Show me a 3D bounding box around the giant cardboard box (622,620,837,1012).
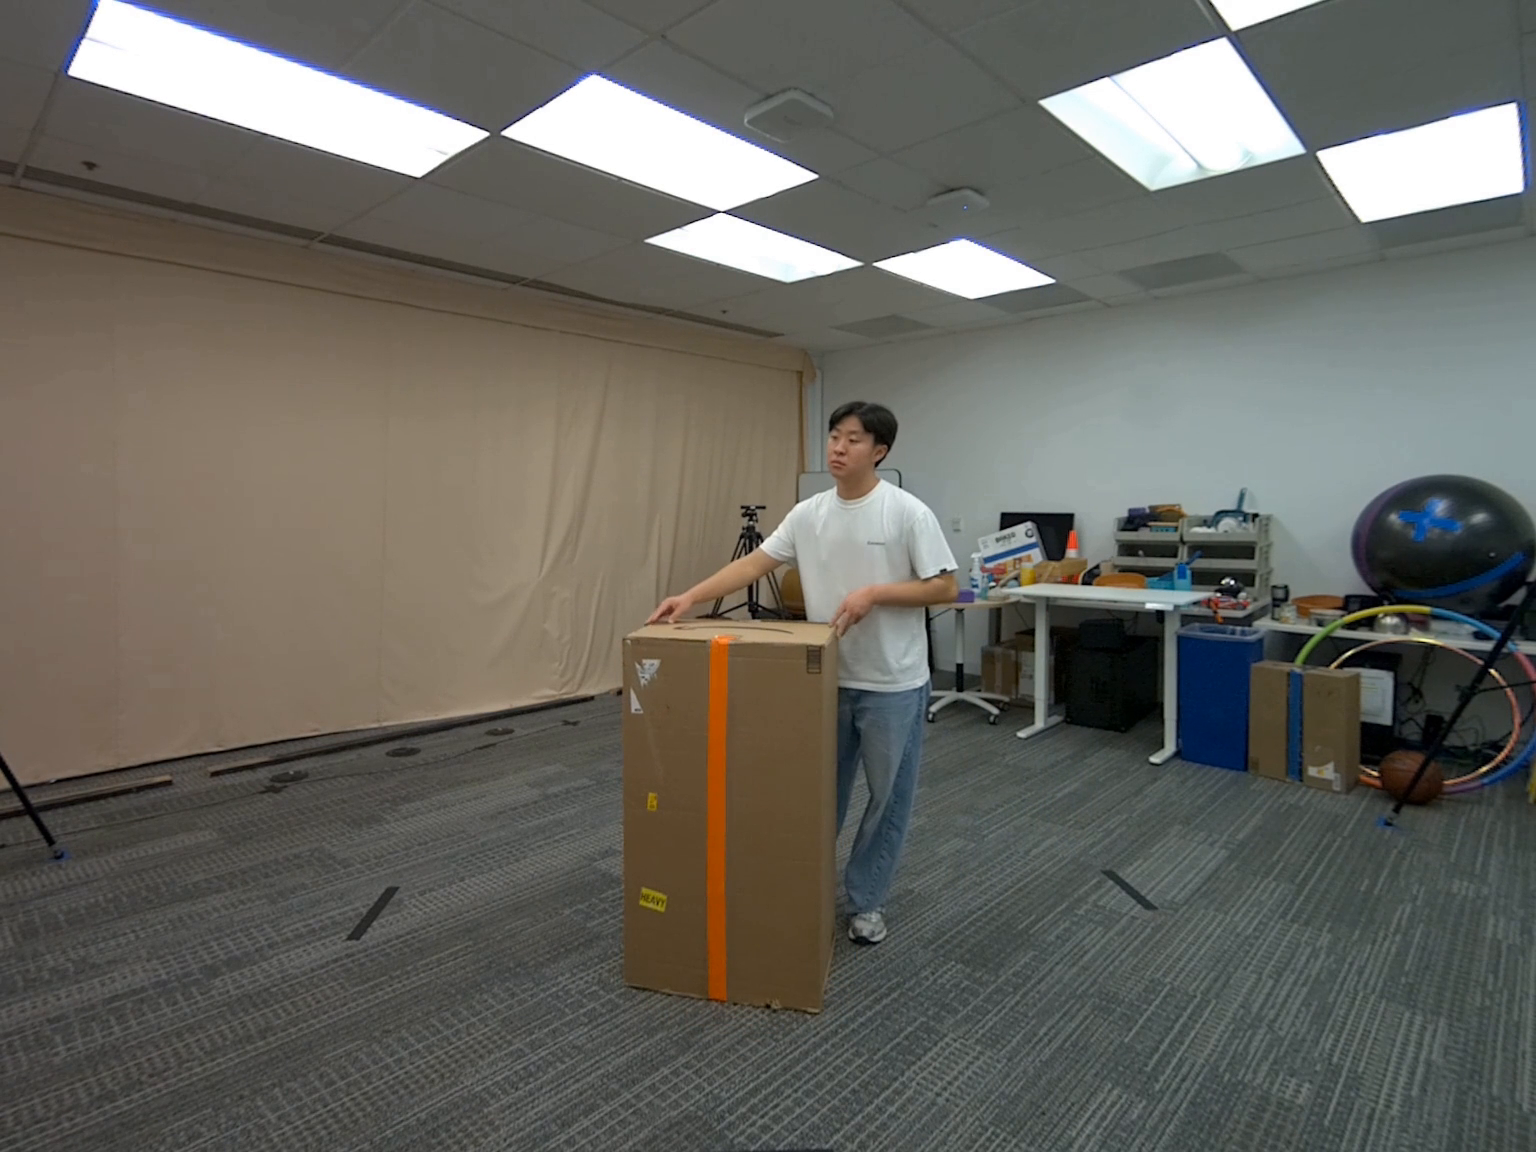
[{"bbox_3d":[-0.099,0.672,2.537,0.587,1.024,0.420,1,3,14],"label":"giant cardboard box"}]
